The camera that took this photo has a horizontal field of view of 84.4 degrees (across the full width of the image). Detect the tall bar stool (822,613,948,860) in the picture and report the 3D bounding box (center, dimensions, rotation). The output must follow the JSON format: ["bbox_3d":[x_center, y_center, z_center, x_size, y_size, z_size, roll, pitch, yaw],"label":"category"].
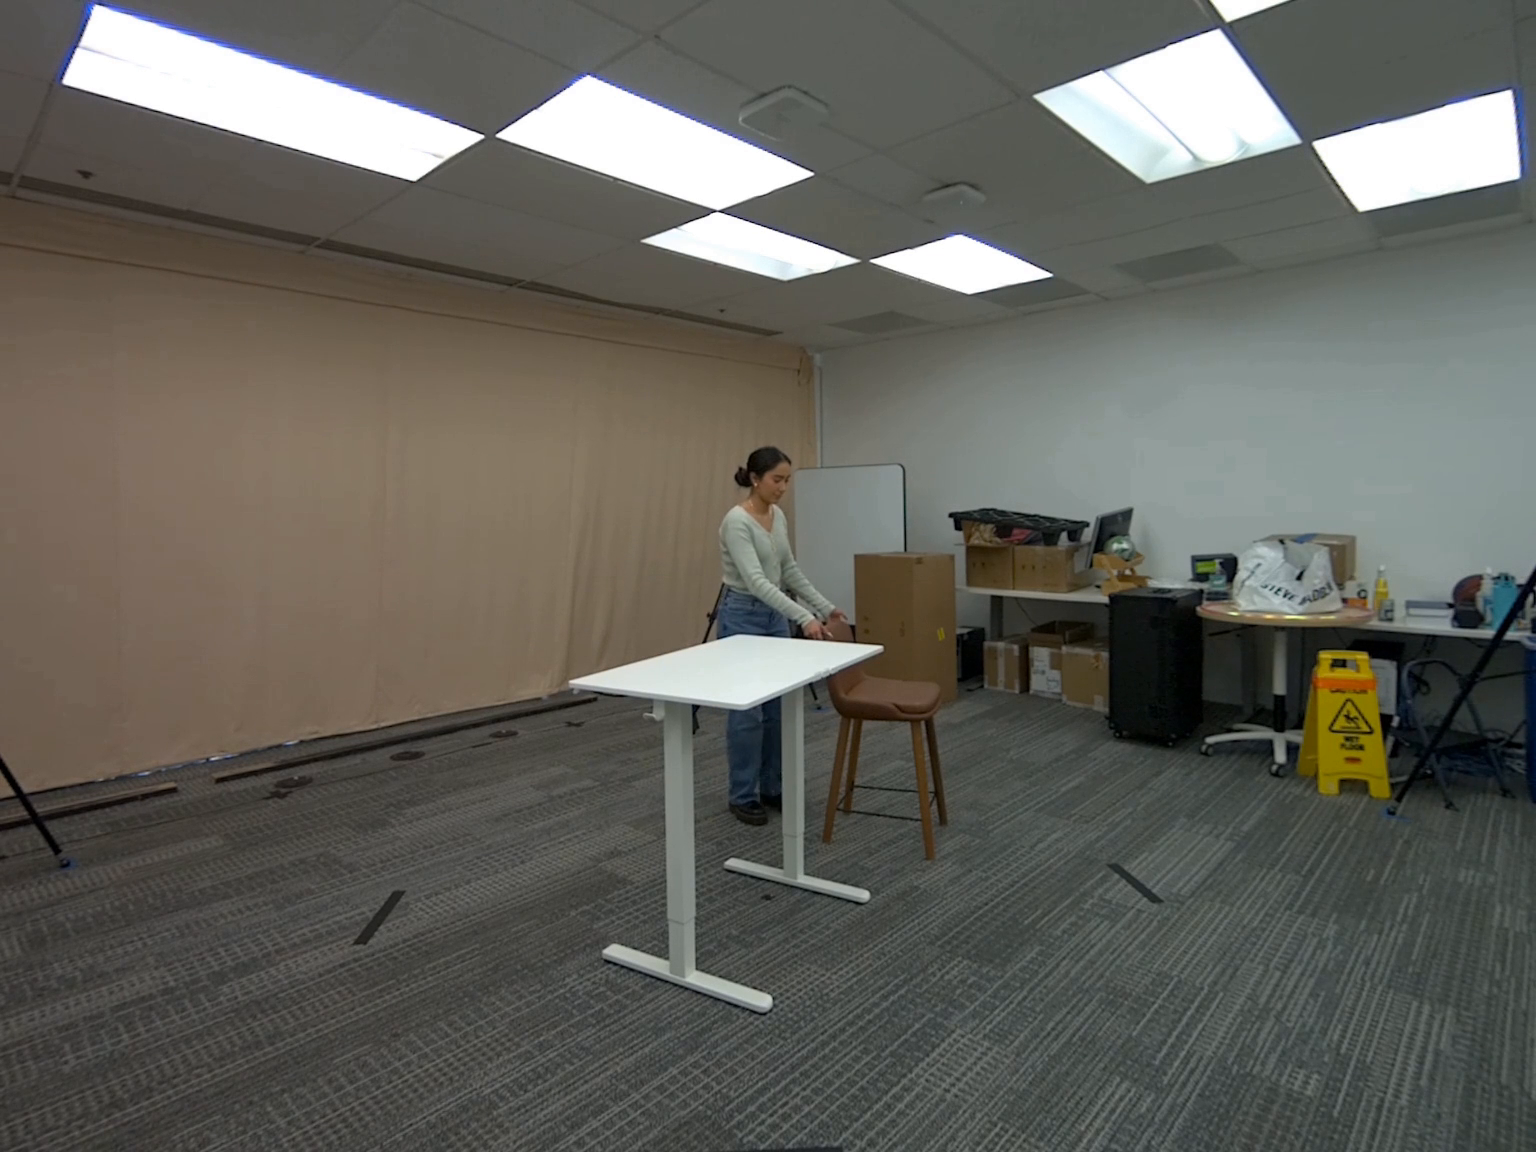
[{"bbox_3d":[0.483,0.644,3.518,0.478,0.888,0.447,-2,3,22],"label":"tall bar stool"}]
